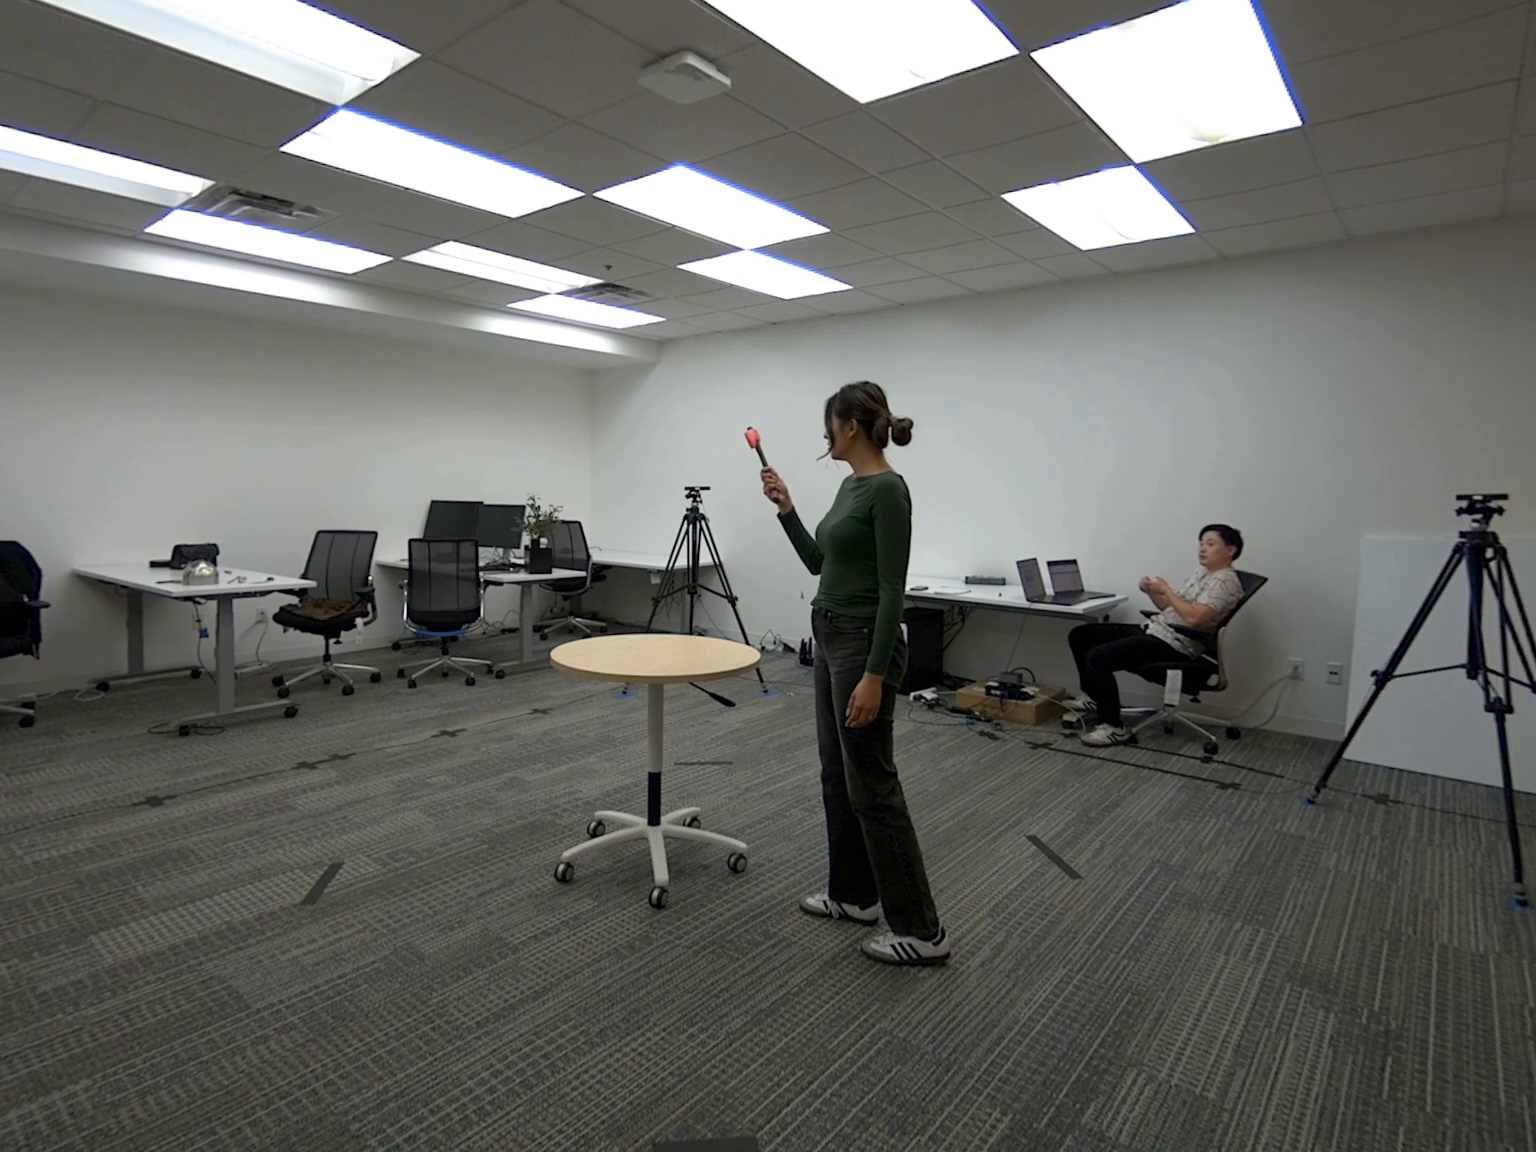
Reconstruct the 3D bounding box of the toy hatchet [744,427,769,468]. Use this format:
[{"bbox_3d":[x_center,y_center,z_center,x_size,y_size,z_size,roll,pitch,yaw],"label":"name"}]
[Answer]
[{"bbox_3d":[-0.024,-0.380,2.797,0.030,0.277,0.126,-26,-22,13],"label":"toy hatchet"}]
